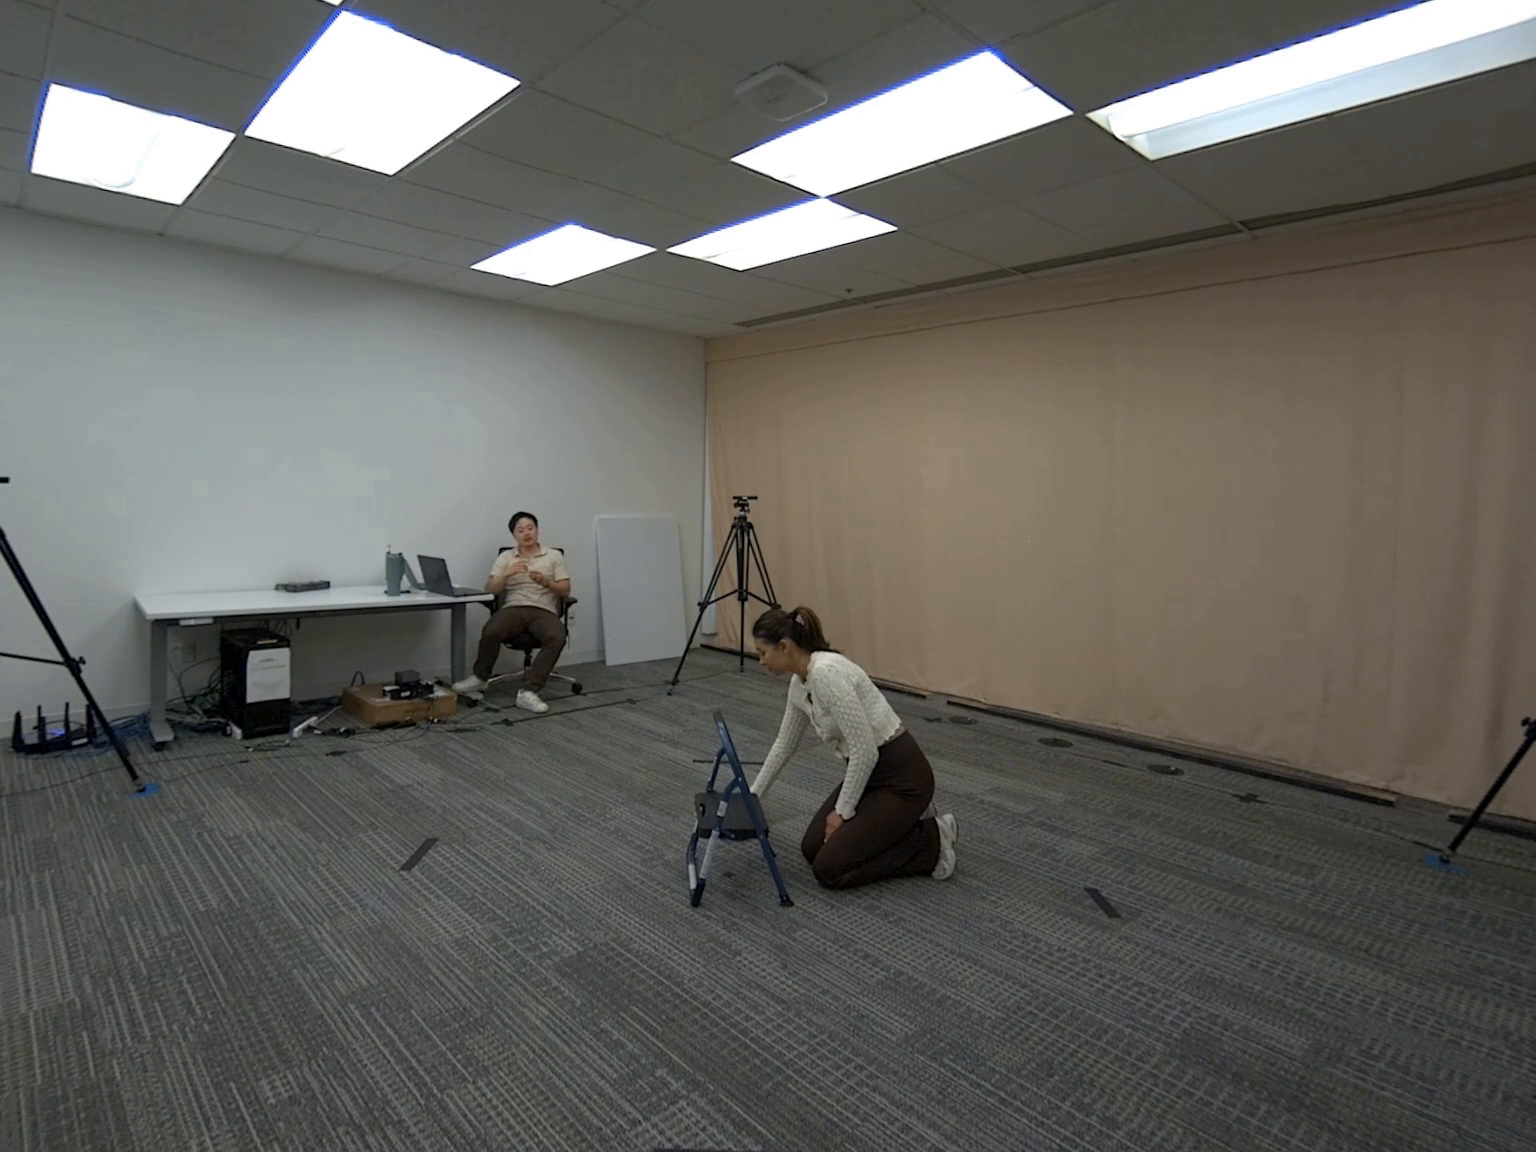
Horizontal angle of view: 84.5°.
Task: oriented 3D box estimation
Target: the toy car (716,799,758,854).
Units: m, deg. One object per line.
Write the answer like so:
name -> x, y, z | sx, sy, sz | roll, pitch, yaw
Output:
toy car -> -0.131, 1.037, 3.527 | 0.131, 0.082, 0.255 | 4, 15, 7
